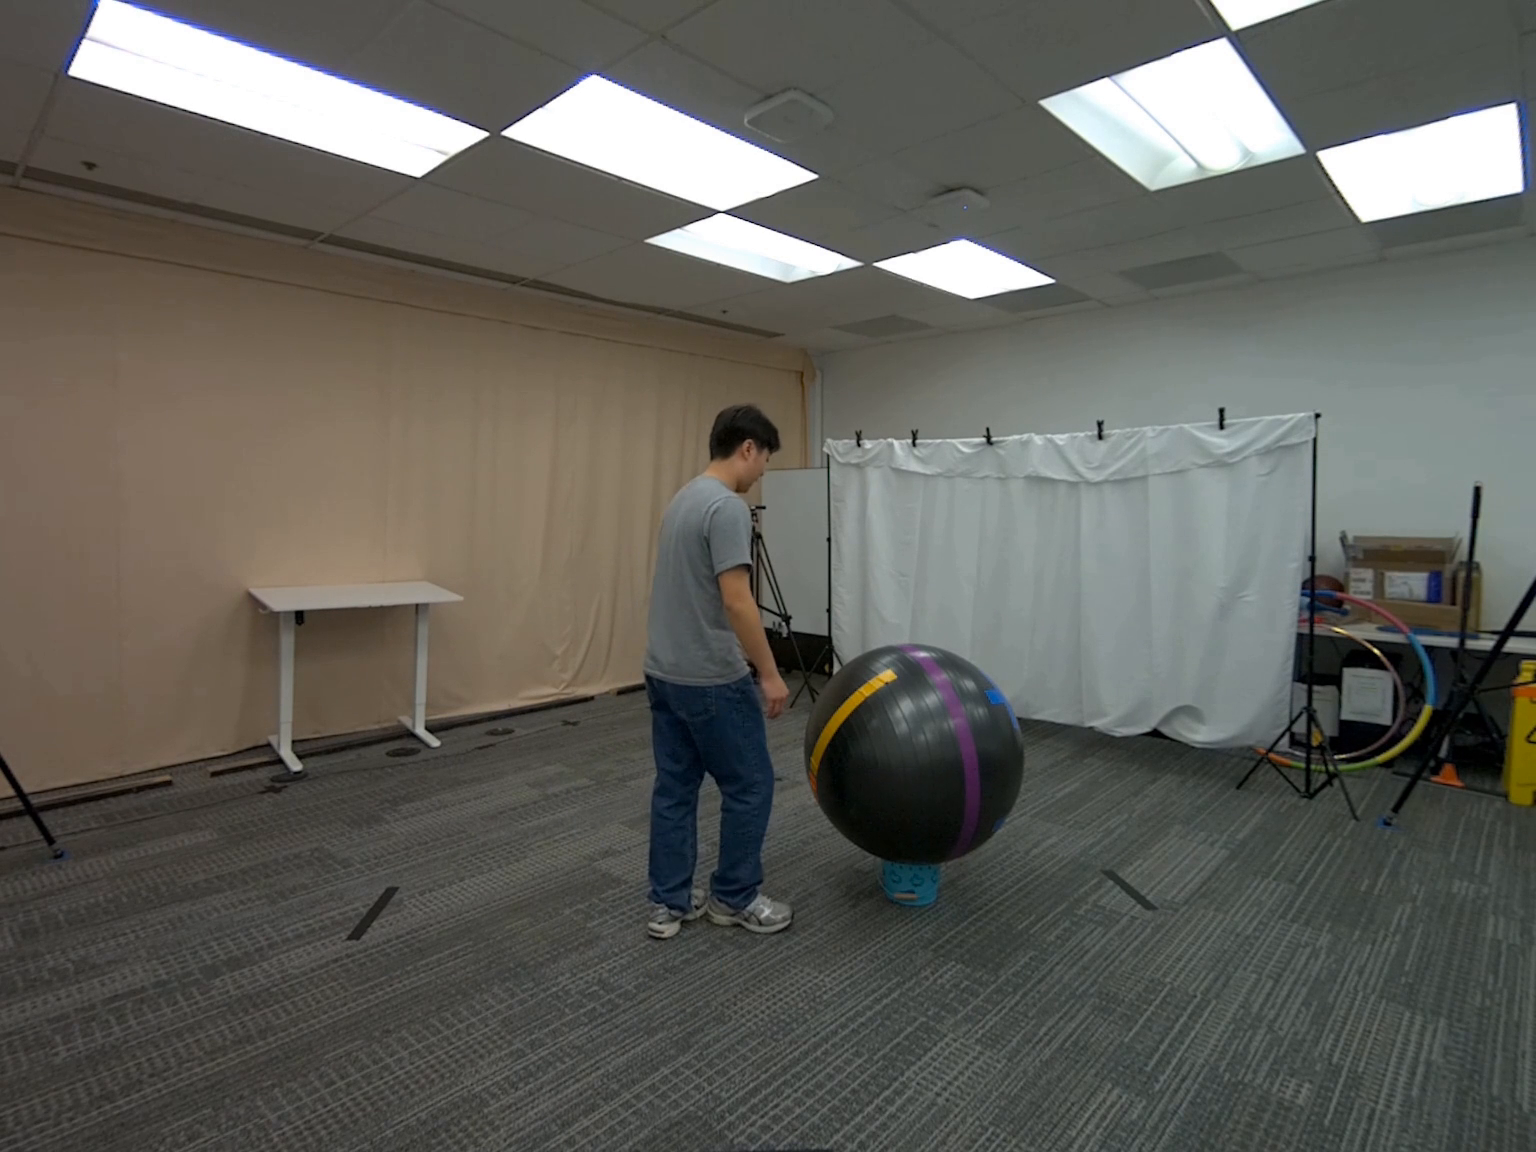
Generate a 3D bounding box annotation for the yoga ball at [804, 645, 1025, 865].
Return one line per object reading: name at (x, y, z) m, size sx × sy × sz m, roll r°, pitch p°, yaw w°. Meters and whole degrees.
yoga ball at (0.527, 0.630, 3.000) m, size 0.757 × 0.756 × 0.761 m, roll 0°, pitch 4°, yaw -2°
